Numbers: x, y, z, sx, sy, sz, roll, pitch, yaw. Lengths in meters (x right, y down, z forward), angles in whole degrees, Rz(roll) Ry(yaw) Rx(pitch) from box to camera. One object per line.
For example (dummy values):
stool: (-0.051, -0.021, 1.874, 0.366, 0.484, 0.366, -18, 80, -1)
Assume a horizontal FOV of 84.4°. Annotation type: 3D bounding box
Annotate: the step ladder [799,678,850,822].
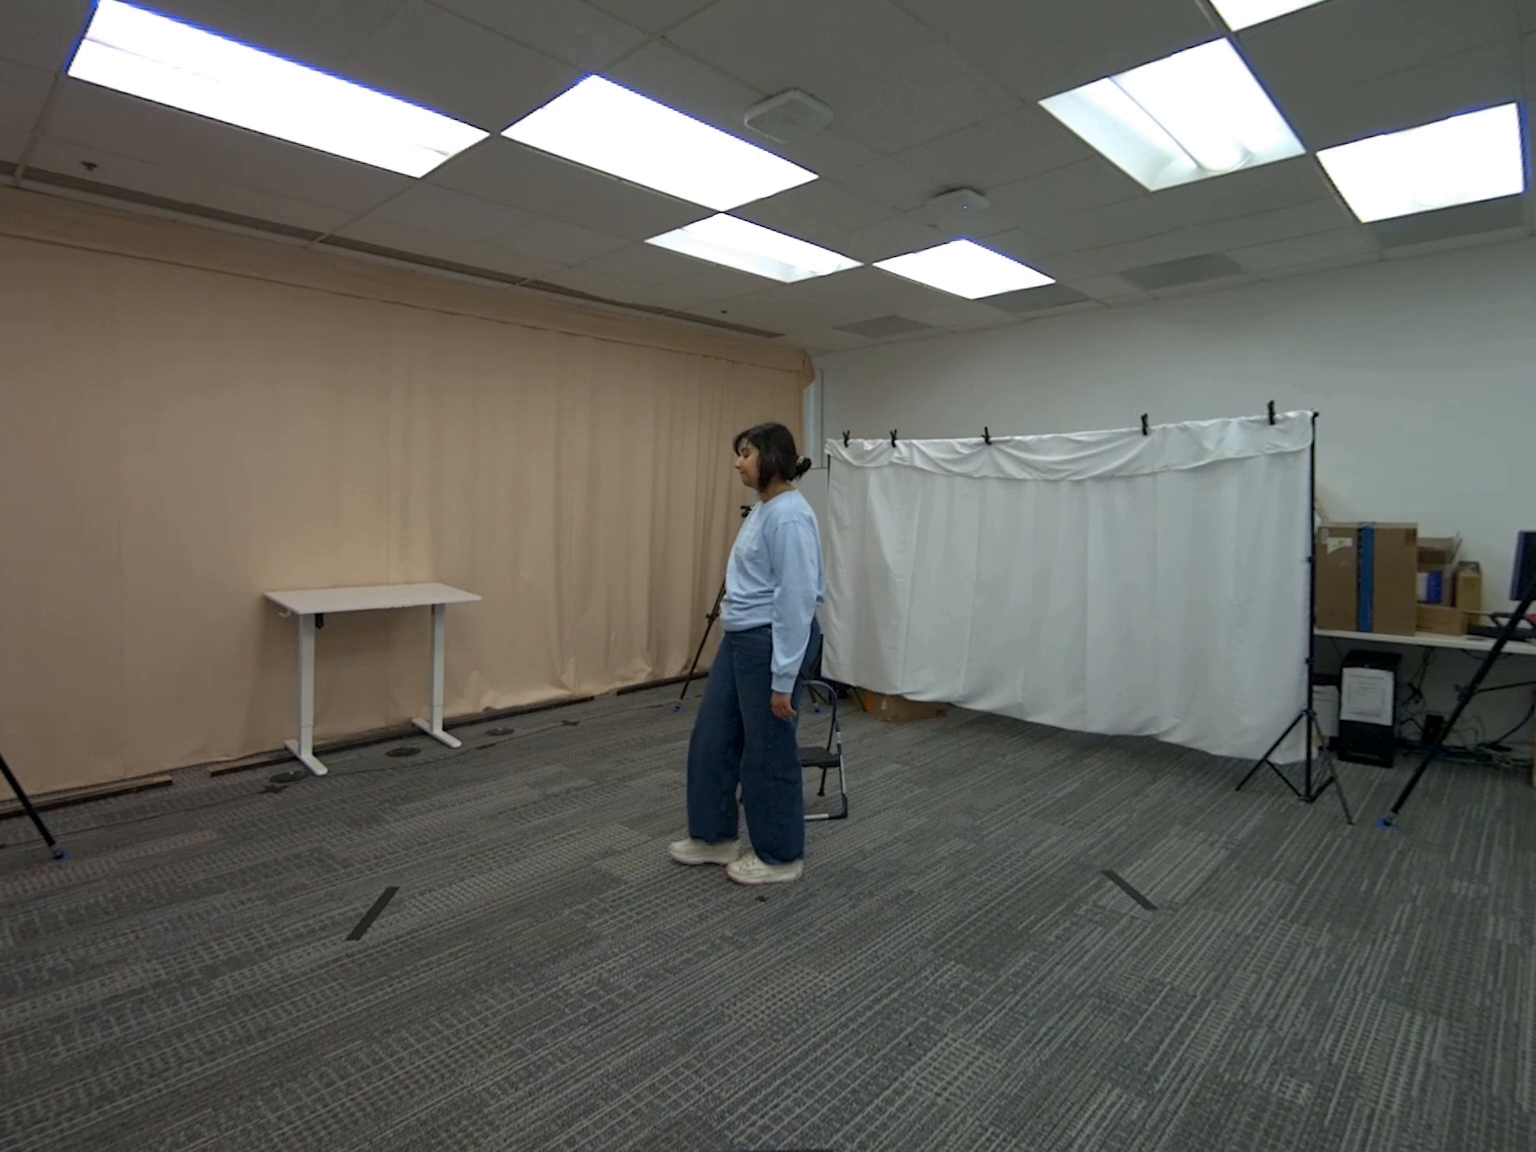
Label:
step ladder: (0.115, 0.772, 3.858, 0.424, 0.605, 0.355, -1, 3, -15)
